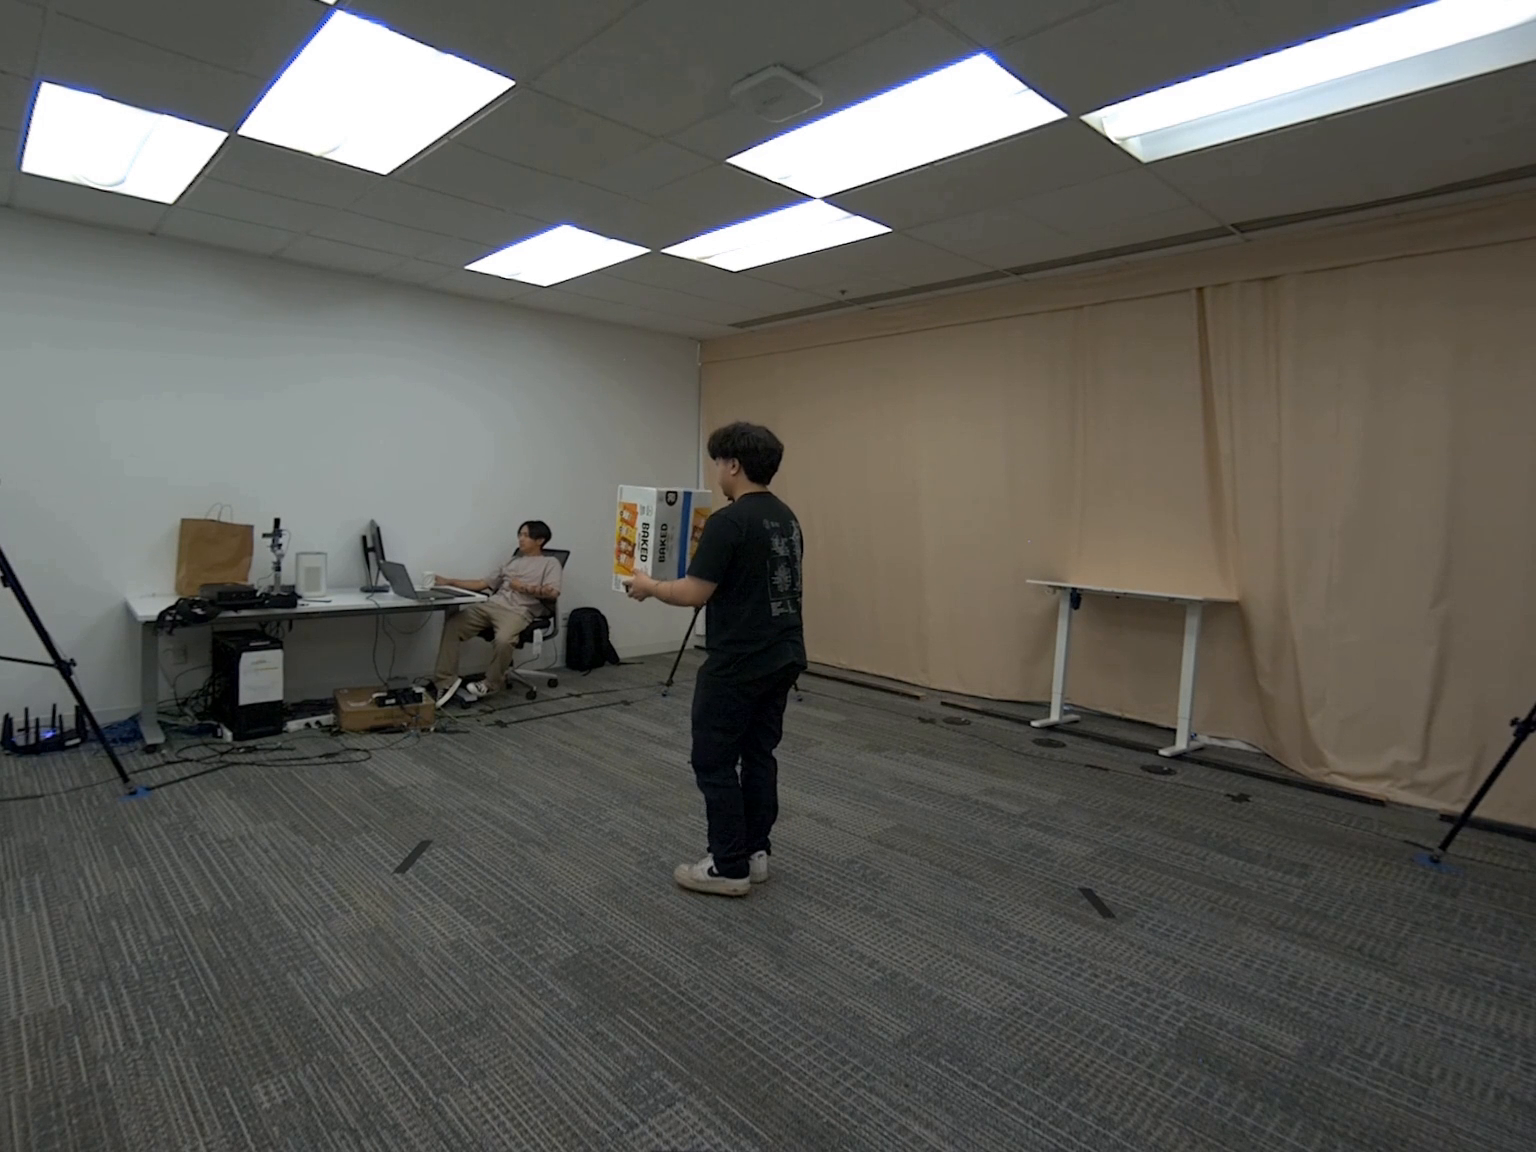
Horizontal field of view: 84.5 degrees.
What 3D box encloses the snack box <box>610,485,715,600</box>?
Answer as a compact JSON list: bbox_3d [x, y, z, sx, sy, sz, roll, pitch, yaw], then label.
[{"bbox_3d":[-0.407,-0.139,3.287,0.211,0.404,0.333,8,6,34],"label":"snack box"}]
